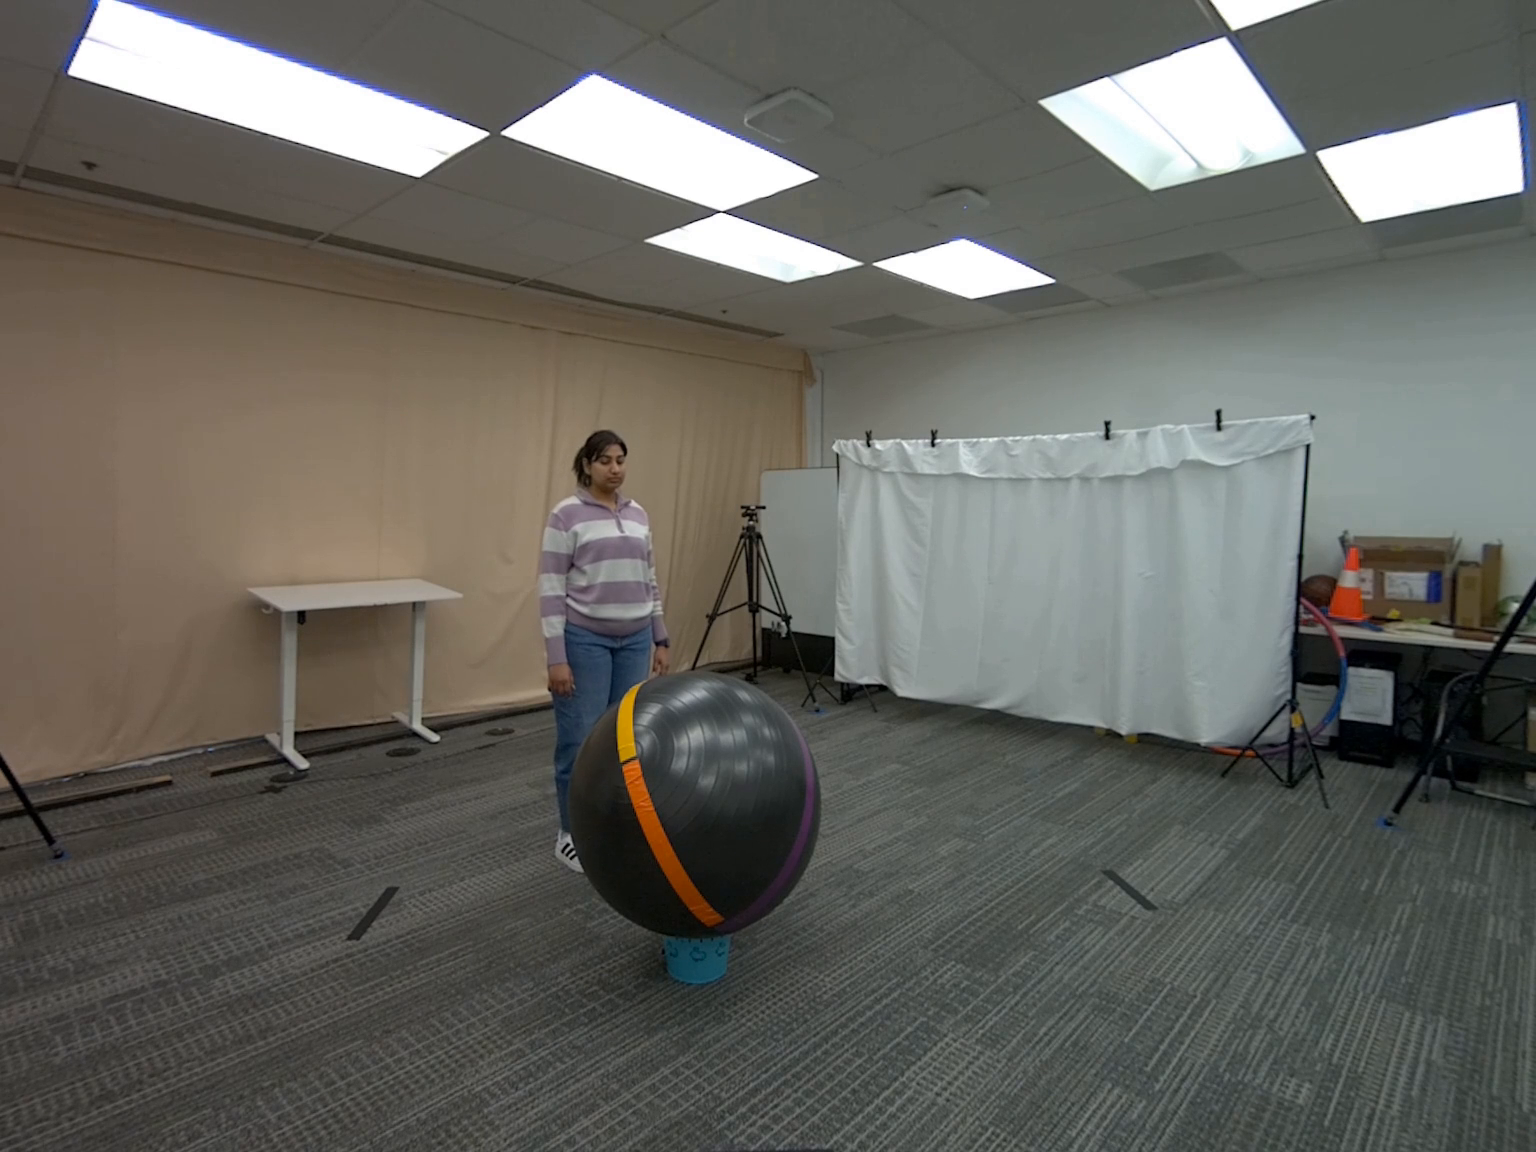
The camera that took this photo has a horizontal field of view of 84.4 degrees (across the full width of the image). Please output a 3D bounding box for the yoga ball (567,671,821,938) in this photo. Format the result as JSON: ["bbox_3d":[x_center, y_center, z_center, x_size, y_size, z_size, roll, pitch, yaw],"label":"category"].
[{"bbox_3d":[-0.213,0.671,2.517,0.757,0.756,0.761,0,4,-2],"label":"yoga ball"}]
